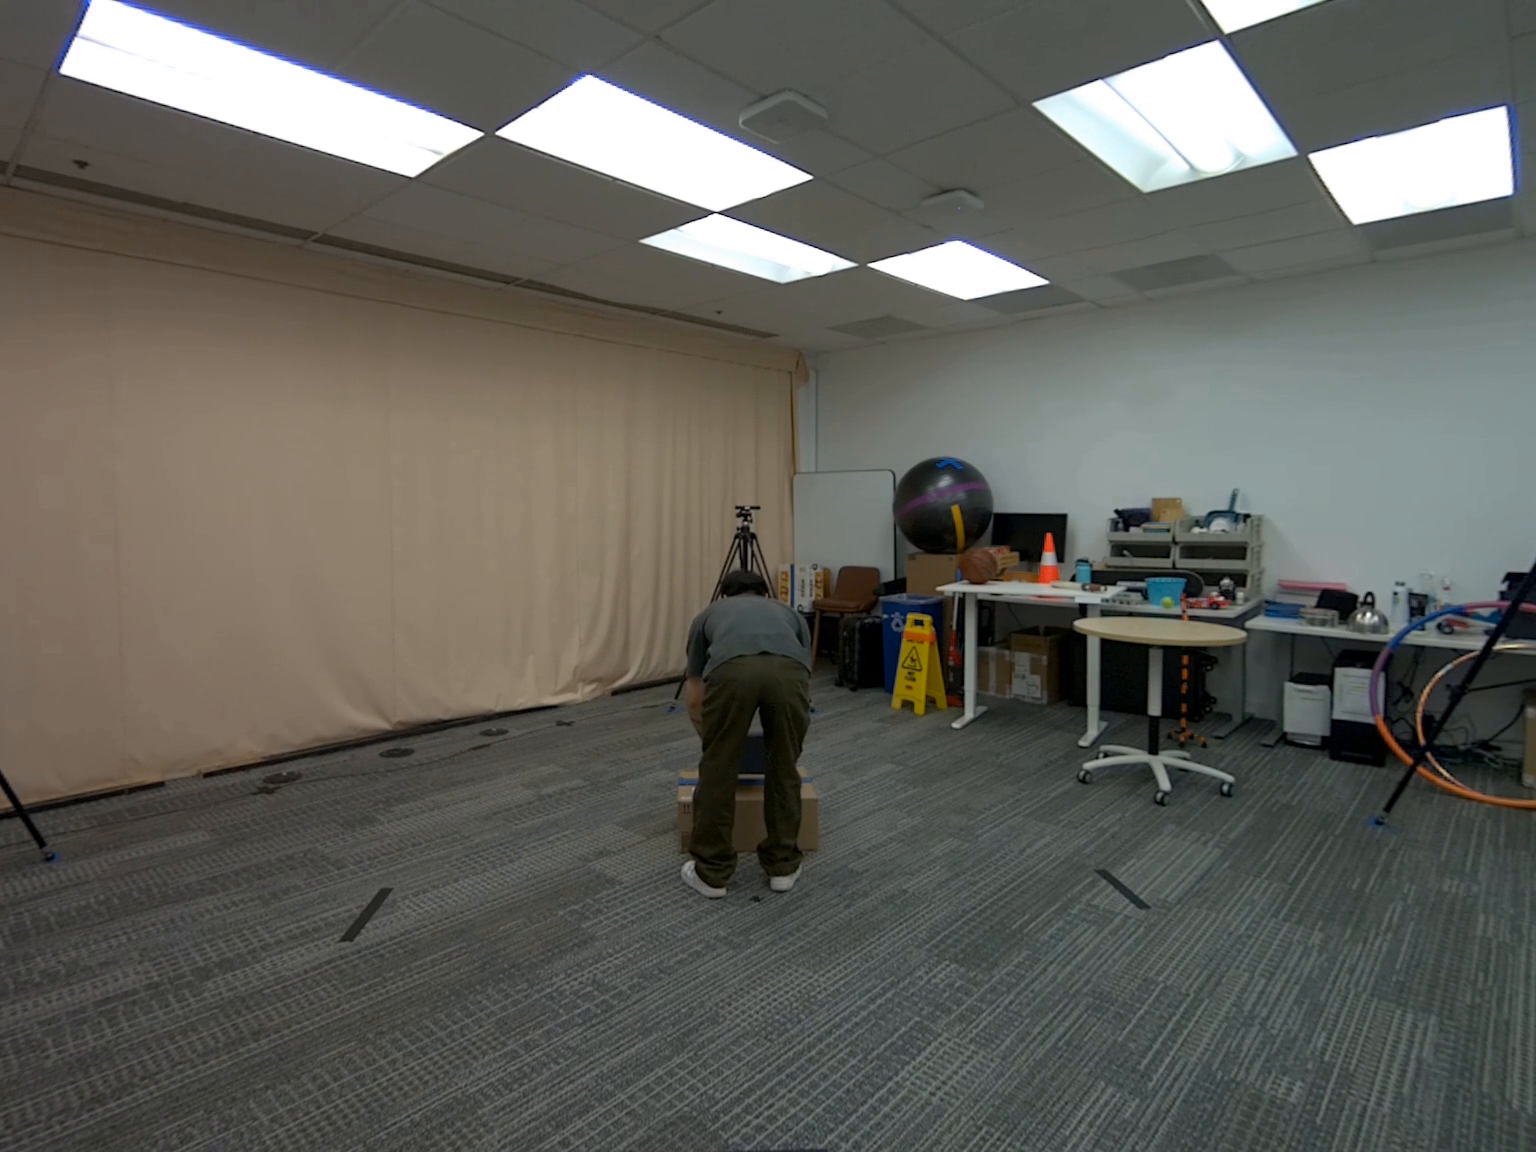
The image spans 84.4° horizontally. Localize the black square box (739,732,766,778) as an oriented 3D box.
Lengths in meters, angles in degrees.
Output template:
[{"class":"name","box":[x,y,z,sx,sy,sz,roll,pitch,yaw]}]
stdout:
[{"class":"black square box","box":[-0.087,0.742,3.534,0.227,0.156,0.217,-2,-6,-5]}]
